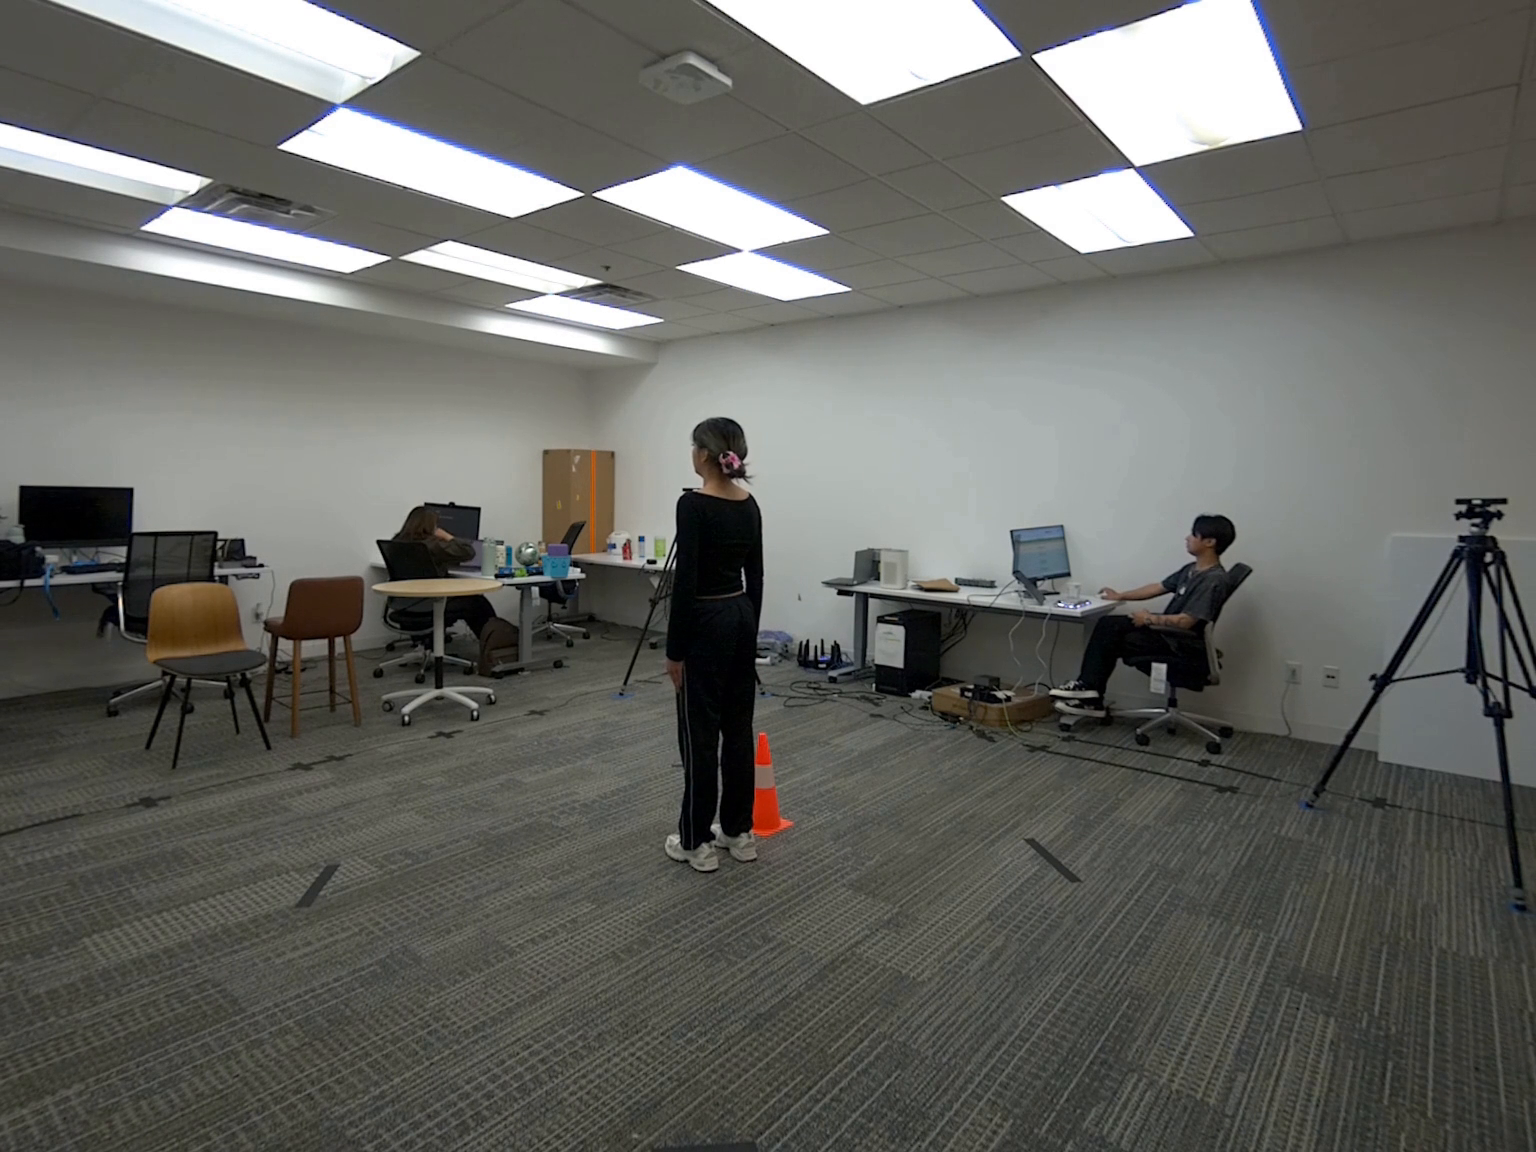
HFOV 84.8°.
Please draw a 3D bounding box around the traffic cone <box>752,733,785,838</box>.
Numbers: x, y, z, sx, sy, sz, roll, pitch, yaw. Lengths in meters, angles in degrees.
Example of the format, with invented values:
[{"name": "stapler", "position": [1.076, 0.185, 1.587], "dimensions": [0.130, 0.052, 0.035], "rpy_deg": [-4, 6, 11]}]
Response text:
[{"name": "traffic cone", "position": [-0.033, 0.842, 3.543], "dimensions": [0.197, 0.382, 0.212], "rpy_deg": [0, 4, -35]}]
